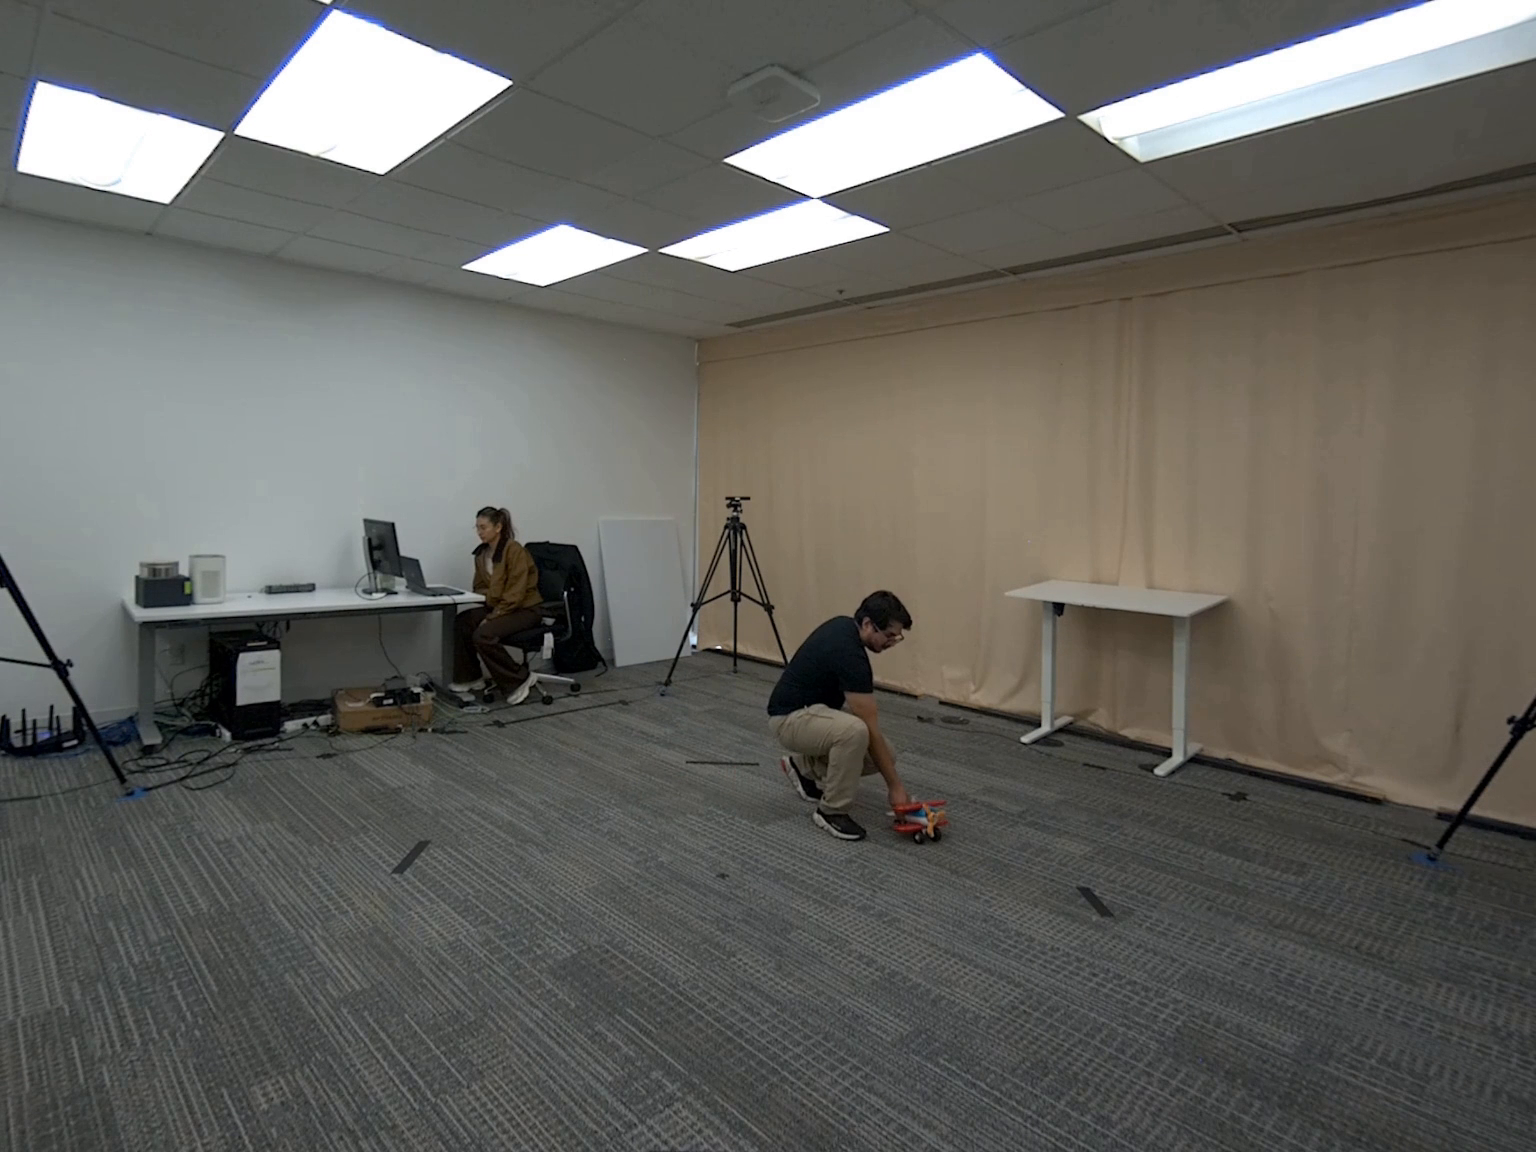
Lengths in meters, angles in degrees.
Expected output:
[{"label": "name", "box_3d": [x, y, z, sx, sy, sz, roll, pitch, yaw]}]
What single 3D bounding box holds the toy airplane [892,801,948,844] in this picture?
[{"label": "toy airplane", "box_3d": [0.593, 1.011, 3.533, 0.265, 0.156, 0.246, 5, 6, 35]}]
